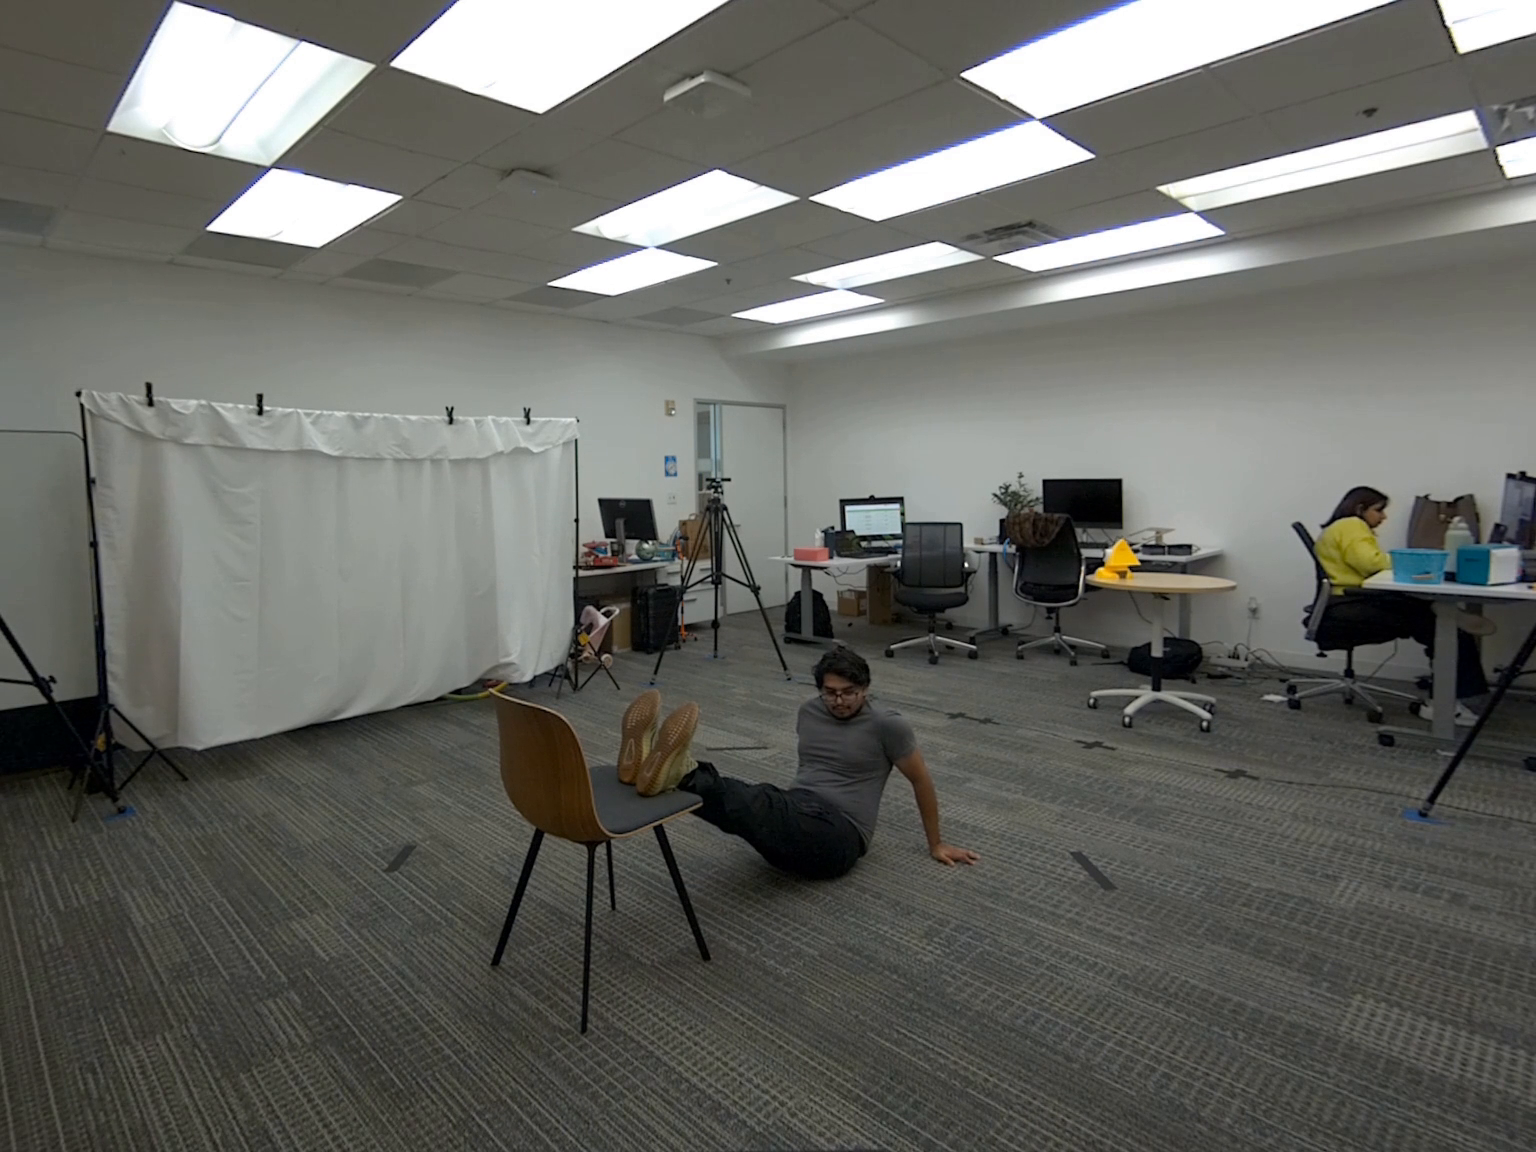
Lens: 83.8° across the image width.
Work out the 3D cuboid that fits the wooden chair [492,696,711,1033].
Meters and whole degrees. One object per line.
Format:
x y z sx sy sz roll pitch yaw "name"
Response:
-0.482 0.704 2.451 0.493 0.871 0.511 4 10 43 "wooden chair"
